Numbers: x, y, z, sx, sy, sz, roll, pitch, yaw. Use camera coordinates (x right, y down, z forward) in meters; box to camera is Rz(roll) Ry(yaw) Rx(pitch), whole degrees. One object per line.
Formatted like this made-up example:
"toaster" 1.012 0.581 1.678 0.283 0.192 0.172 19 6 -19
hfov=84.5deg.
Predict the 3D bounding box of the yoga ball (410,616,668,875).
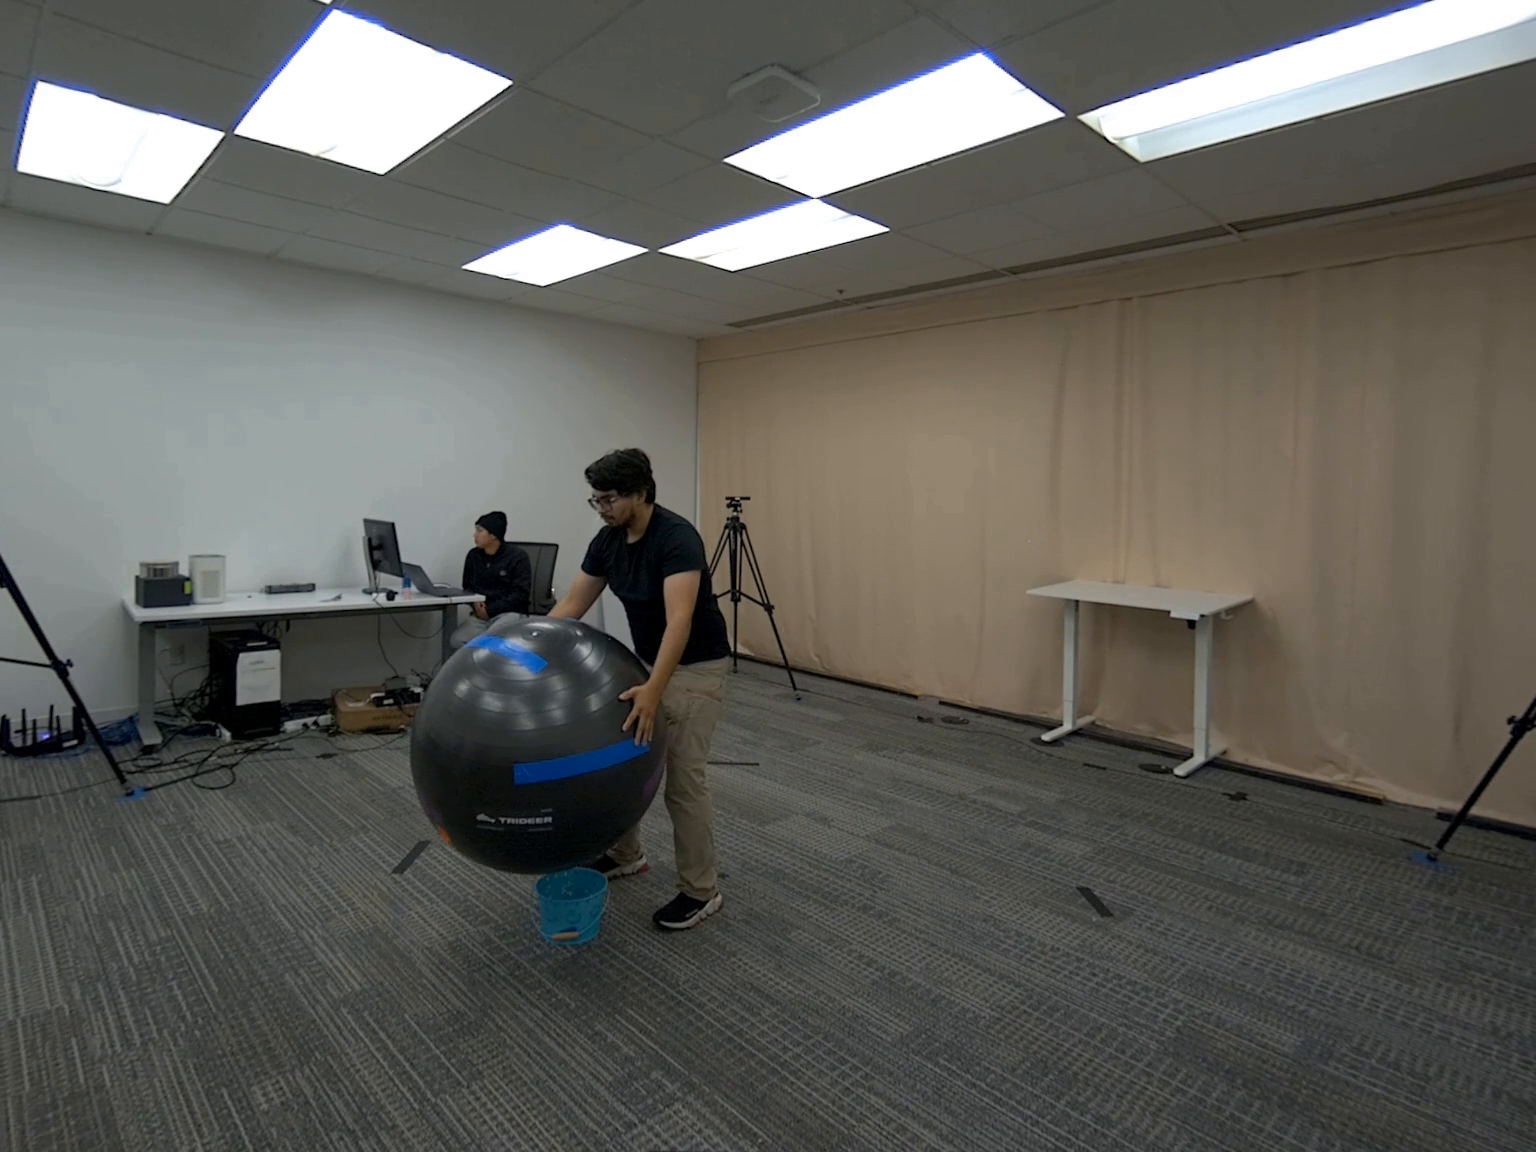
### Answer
"yoga ball" -0.689 0.508 2.553 0.757 0.756 0.760 1 4 -1
